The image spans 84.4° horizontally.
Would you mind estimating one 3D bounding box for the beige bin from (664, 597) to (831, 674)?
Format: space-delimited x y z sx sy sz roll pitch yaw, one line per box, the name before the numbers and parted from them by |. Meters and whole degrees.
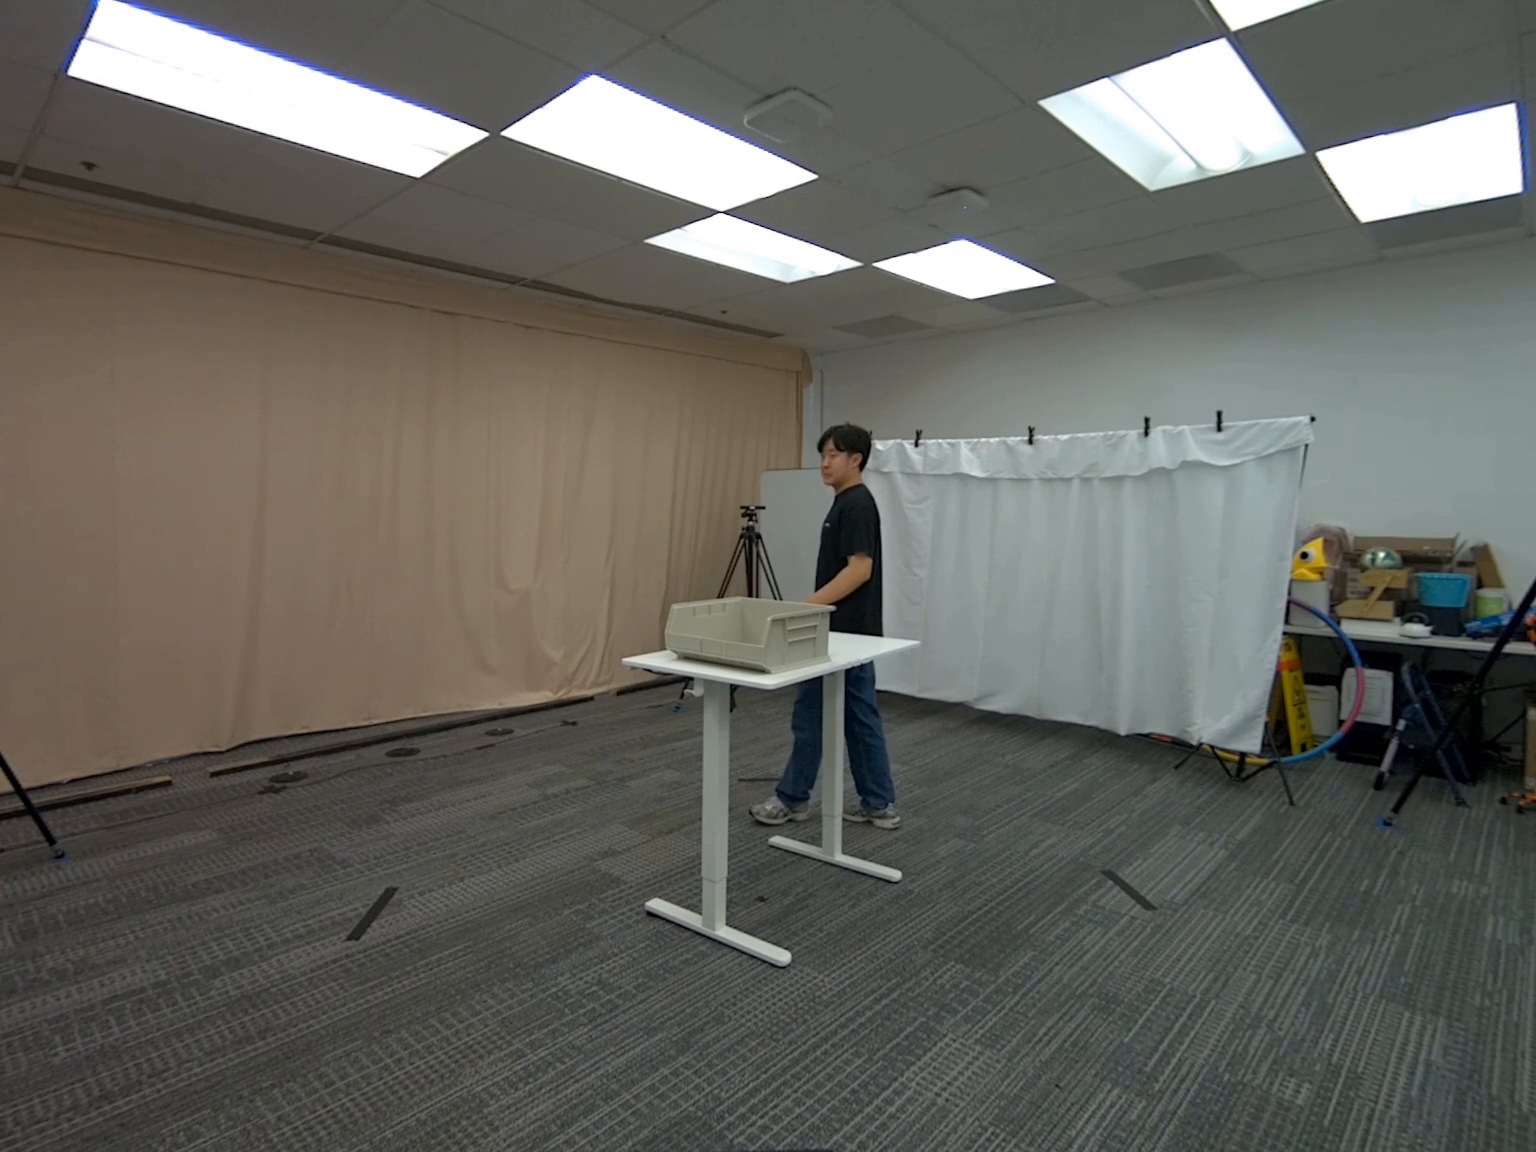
beige bin | -0.057 0.191 2.765 0.436 0.189 0.365 4 4 41
